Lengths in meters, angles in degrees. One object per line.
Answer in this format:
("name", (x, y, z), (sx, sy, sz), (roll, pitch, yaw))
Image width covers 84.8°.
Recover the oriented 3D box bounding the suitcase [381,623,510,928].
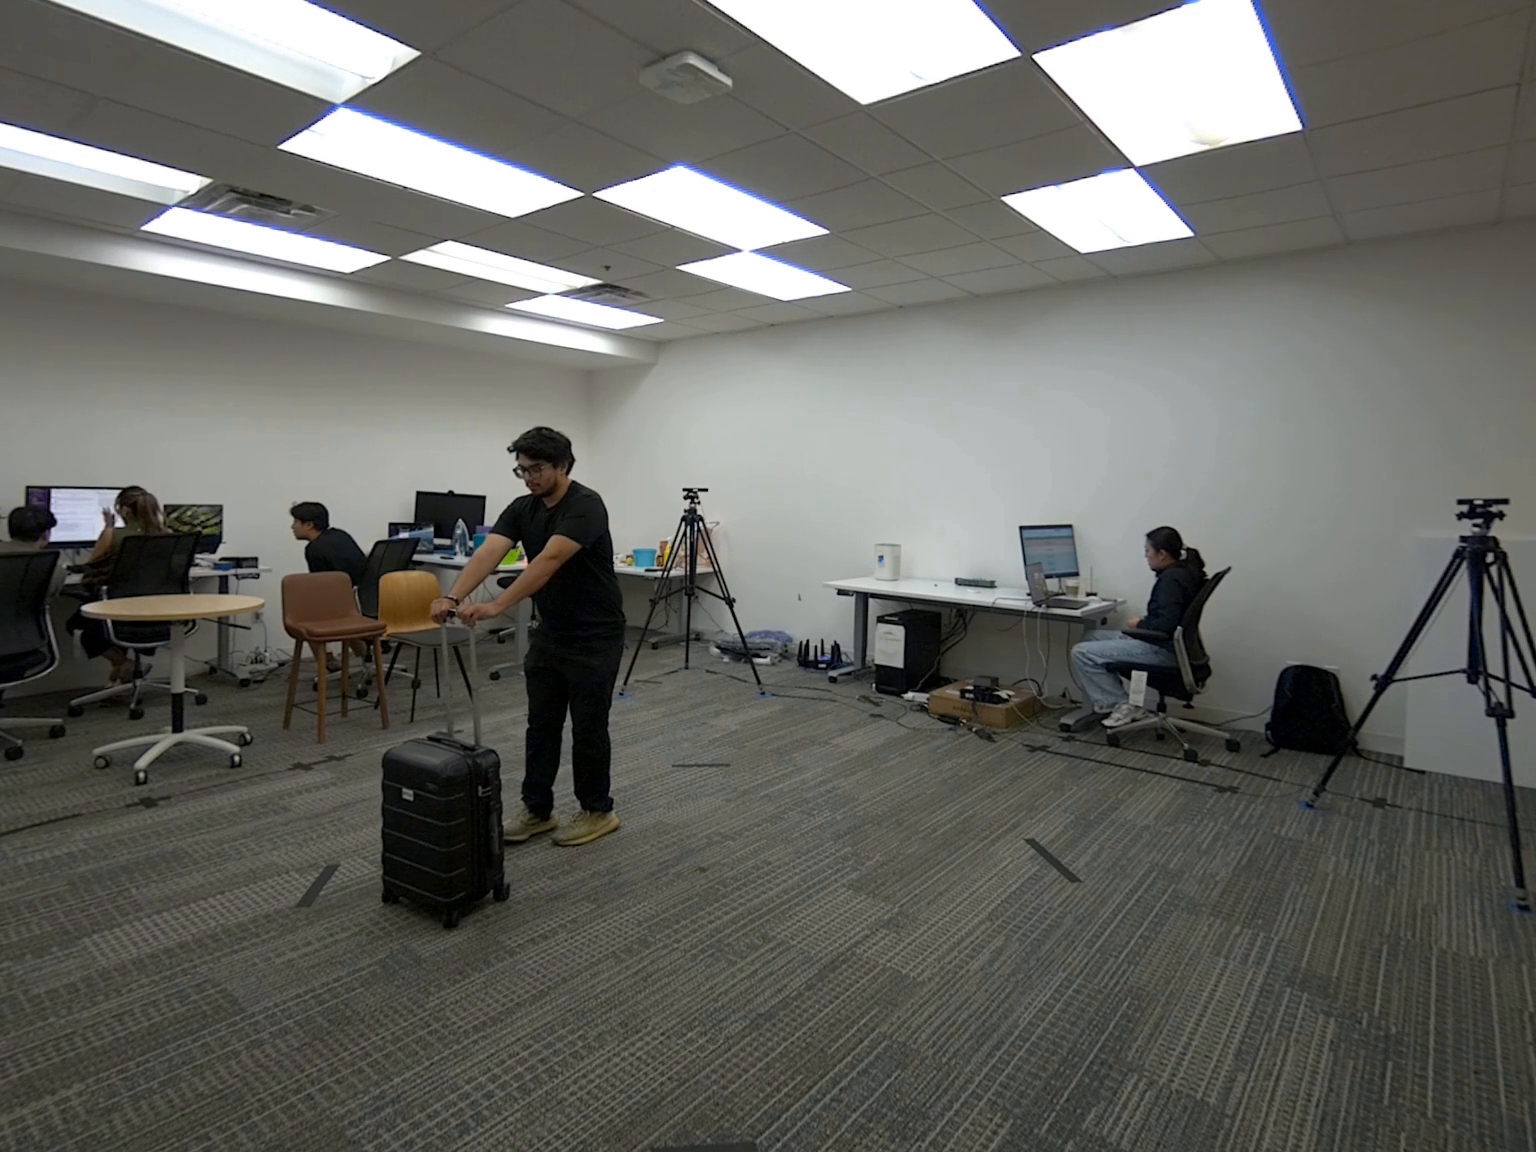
("suitcase", (-1.085, 0.616, 2.770), (0.395, 0.971, 0.251), (4, 9, 30))
